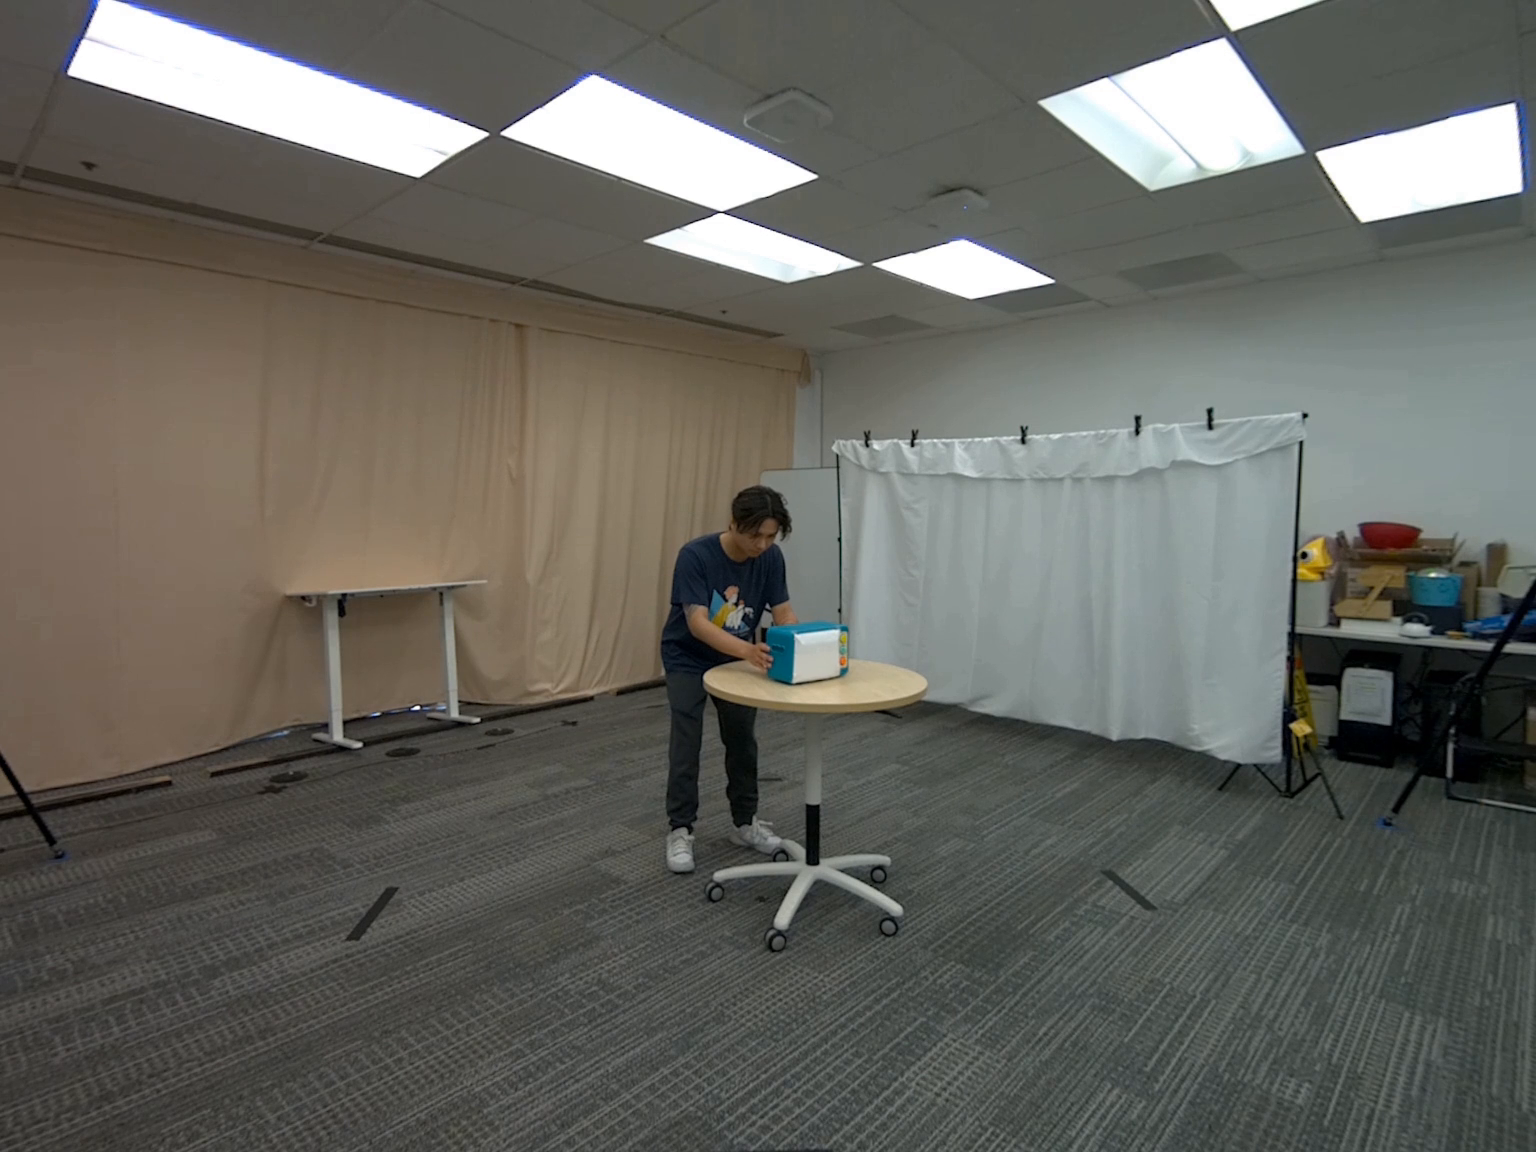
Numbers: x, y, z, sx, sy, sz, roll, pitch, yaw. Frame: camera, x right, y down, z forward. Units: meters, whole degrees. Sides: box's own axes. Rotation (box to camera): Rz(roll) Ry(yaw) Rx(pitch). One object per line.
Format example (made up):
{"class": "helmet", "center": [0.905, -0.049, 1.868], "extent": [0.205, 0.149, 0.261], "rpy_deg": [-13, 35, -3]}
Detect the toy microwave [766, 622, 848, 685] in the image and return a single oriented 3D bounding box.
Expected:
{"class": "toy microwave", "center": [0.146, 0.261, 2.888], "extent": [0.278, 0.184, 0.157], "rpy_deg": [-3, 5, -37]}
